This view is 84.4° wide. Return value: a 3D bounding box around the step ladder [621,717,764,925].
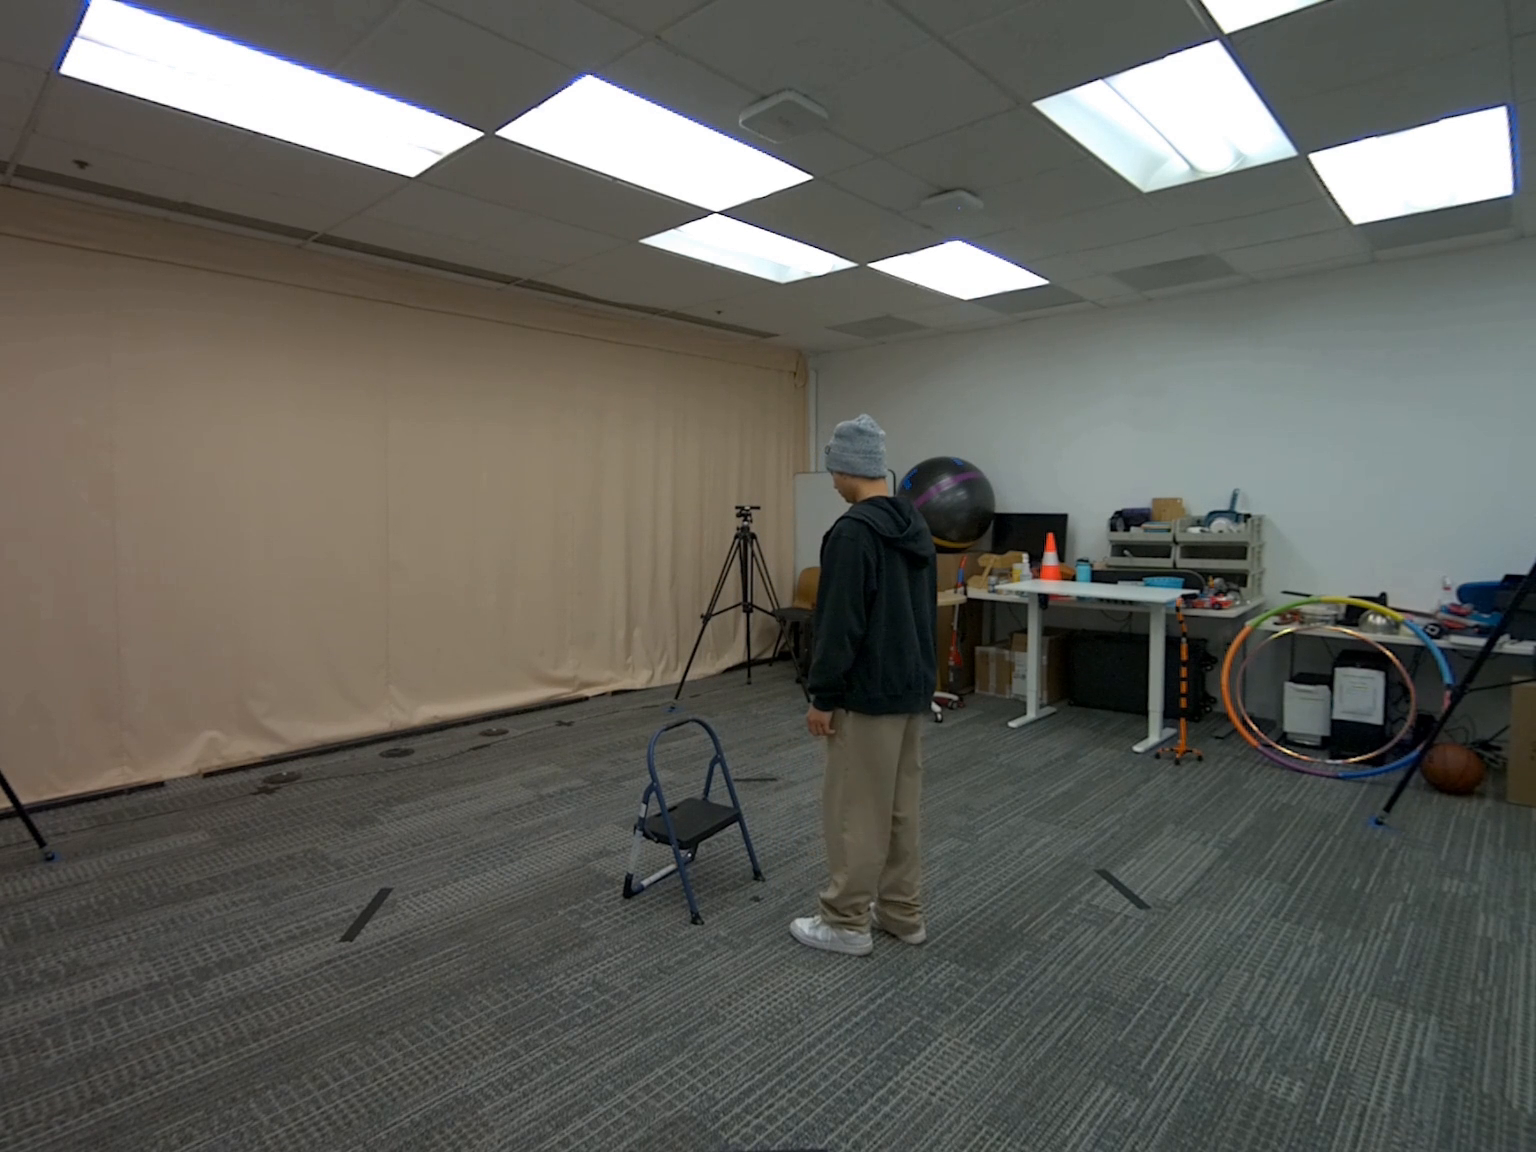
[{"bbox_3d":[-0.267,0.837,3.053,0.360,0.605,0.418,2,4,32],"label":"step ladder"}]
